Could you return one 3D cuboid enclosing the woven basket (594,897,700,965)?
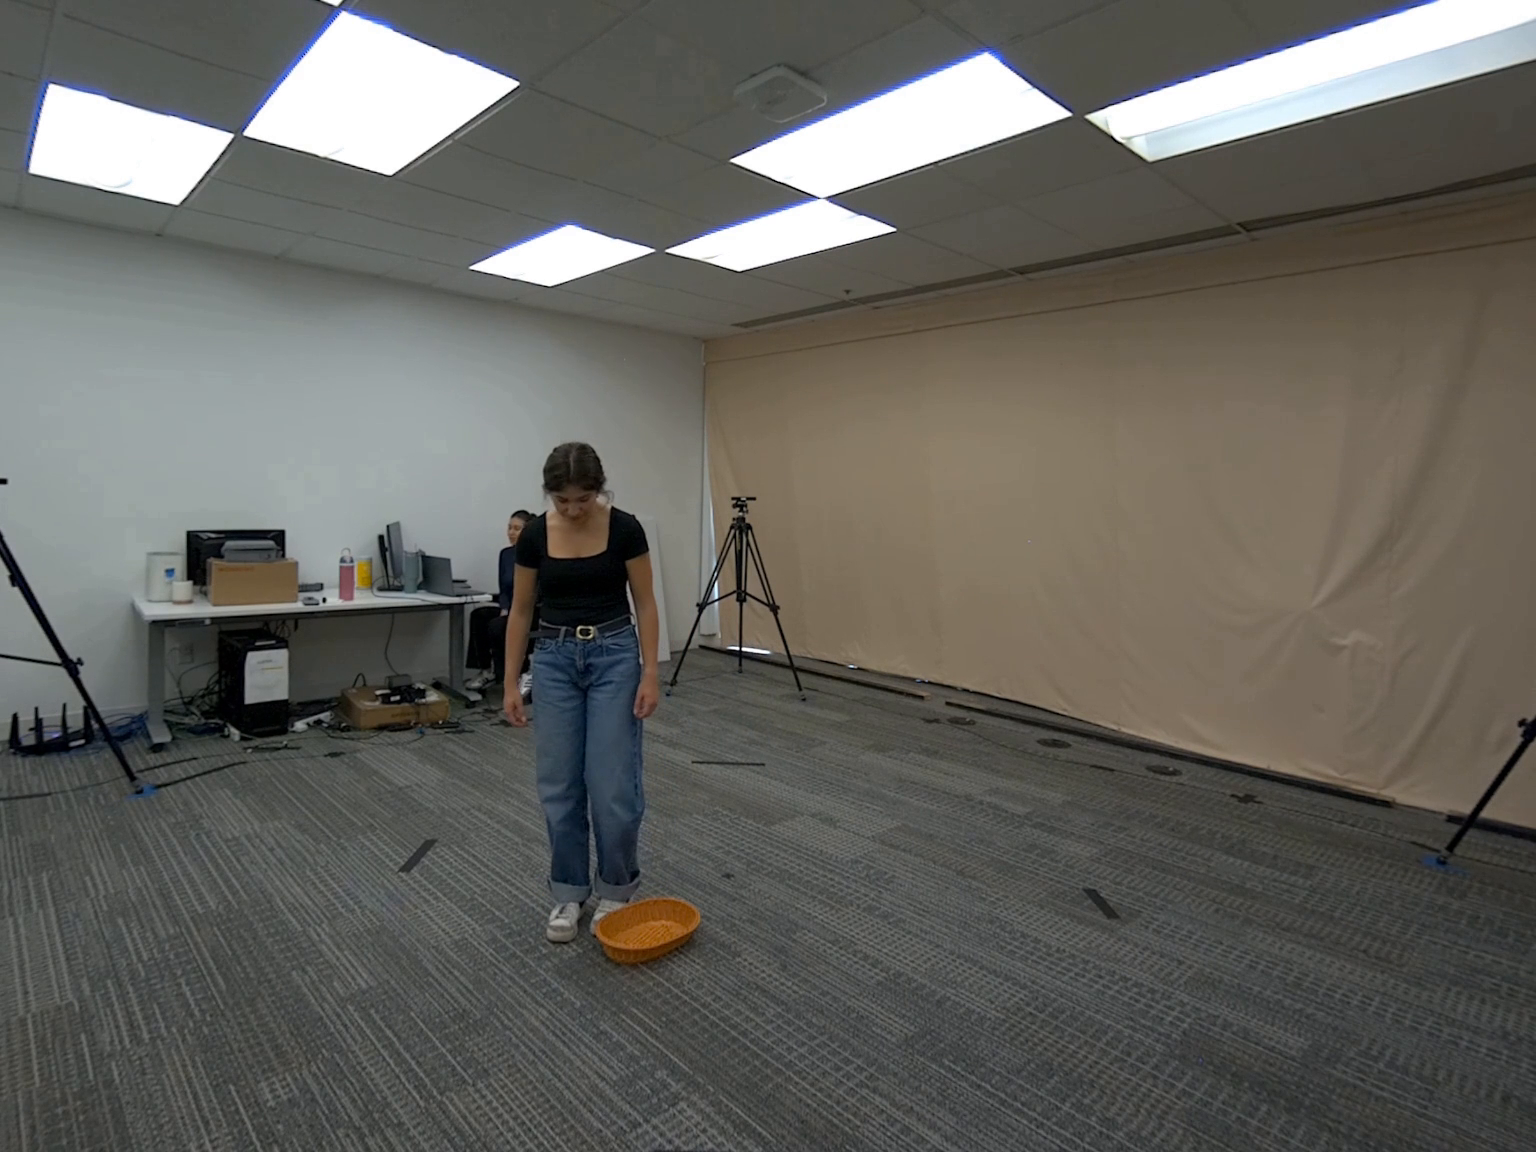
[{"bbox_3d":[-0.378,1.103,2.615,0.342,0.073,0.259,-3,8,-42],"label":"woven basket"}]
